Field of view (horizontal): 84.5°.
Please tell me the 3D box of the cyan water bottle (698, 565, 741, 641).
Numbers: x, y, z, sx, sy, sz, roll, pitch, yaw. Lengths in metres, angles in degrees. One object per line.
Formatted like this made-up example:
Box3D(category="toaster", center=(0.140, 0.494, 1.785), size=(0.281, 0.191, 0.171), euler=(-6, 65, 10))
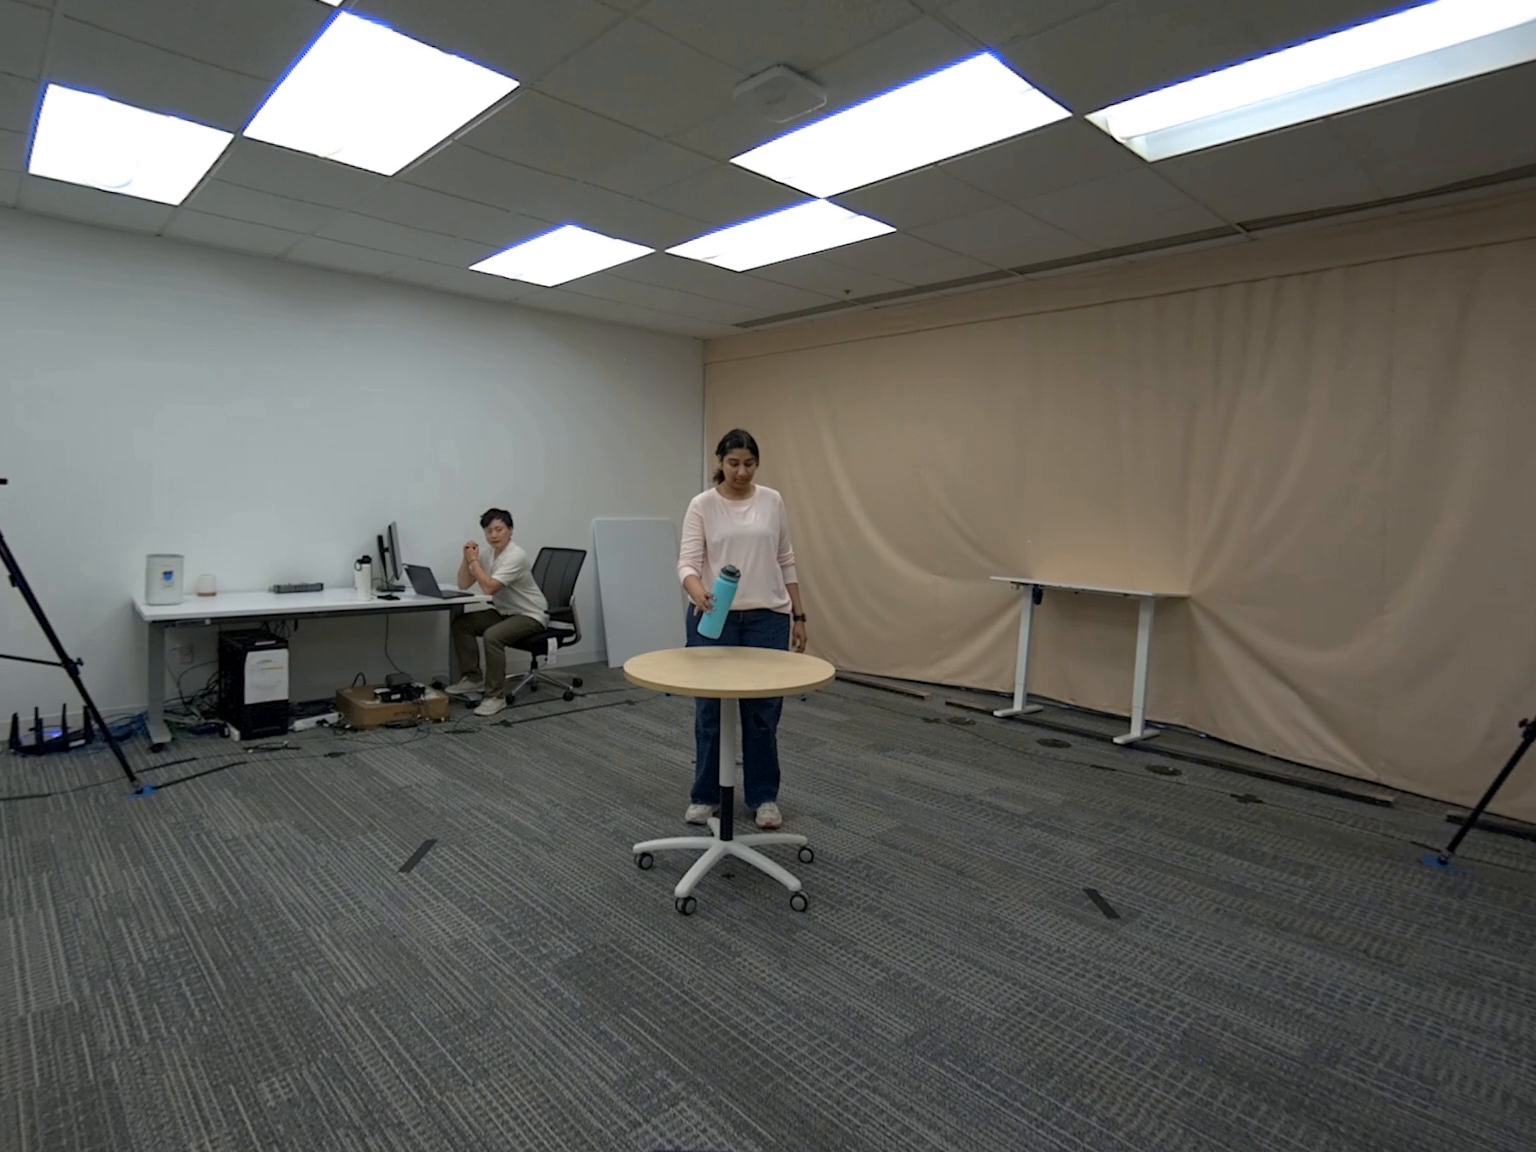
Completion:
Box3D(category="cyan water bottle", center=(-0.194, 0.096, 3.192), size=(0.092, 0.282, 0.093), euler=(17, 9, -5))
